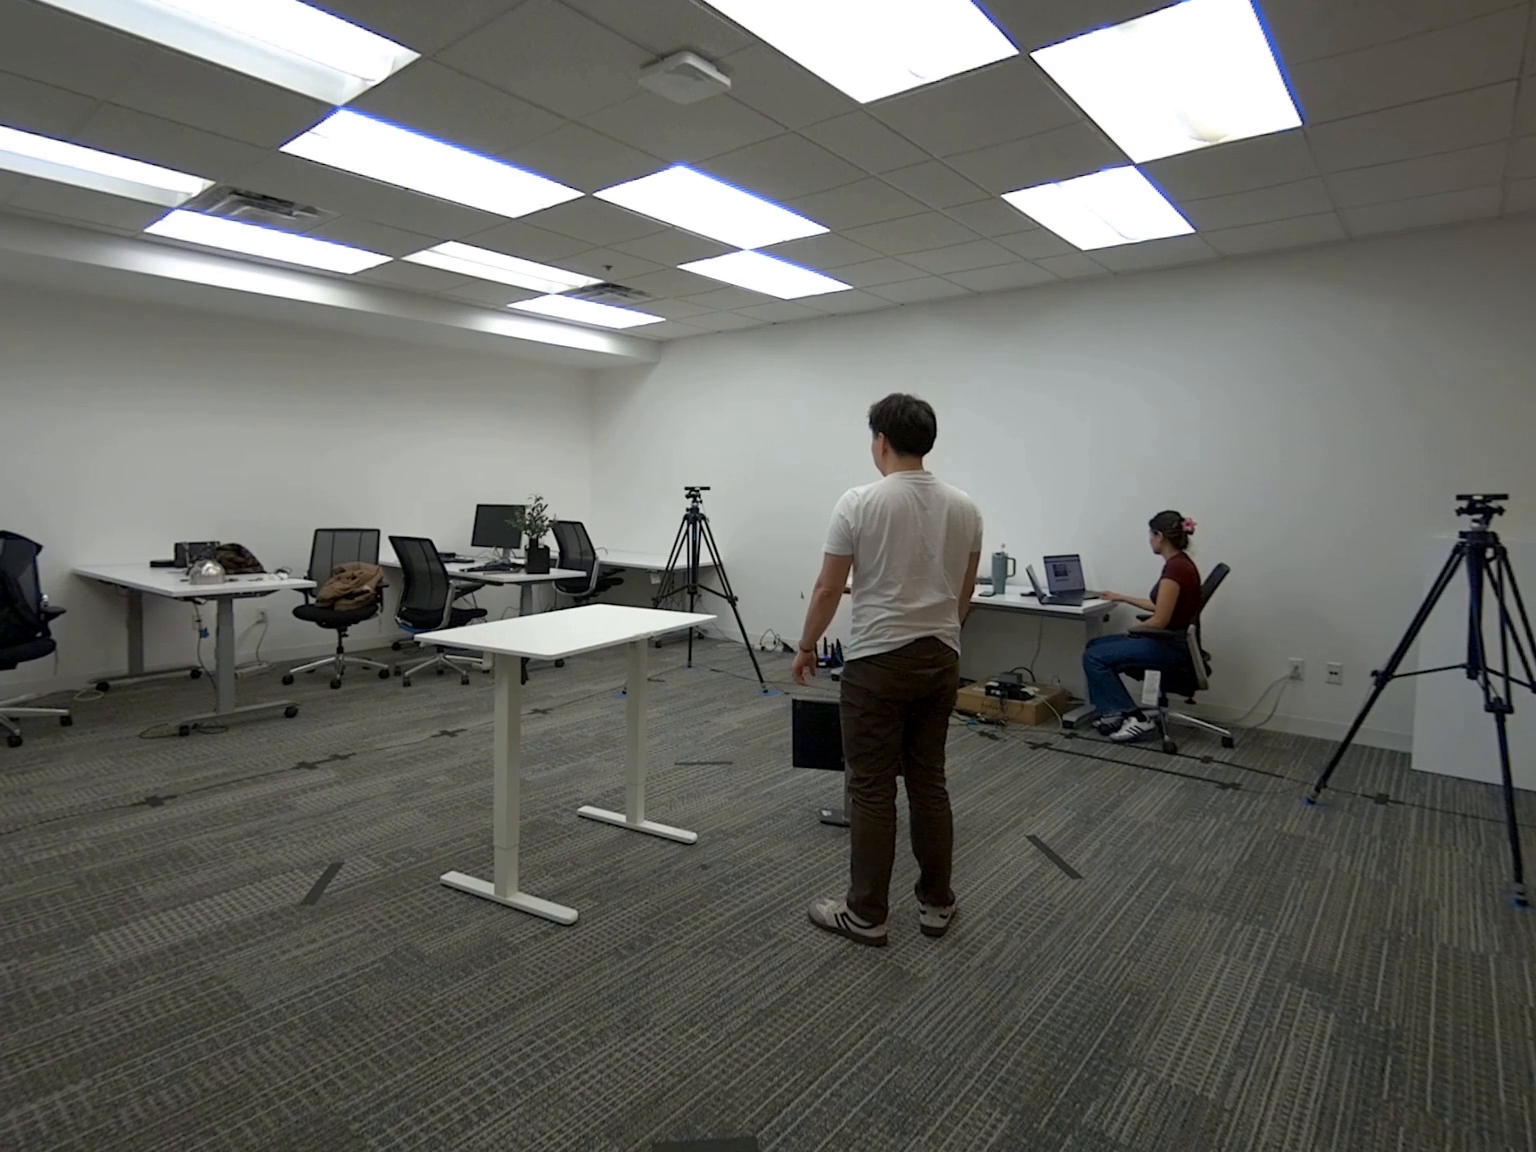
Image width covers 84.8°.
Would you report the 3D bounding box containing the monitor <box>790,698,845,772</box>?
[{"bbox_3d":[0.362,0.768,3.566,0.543,0.519,0.187,3,6,6],"label":"monitor"}]
